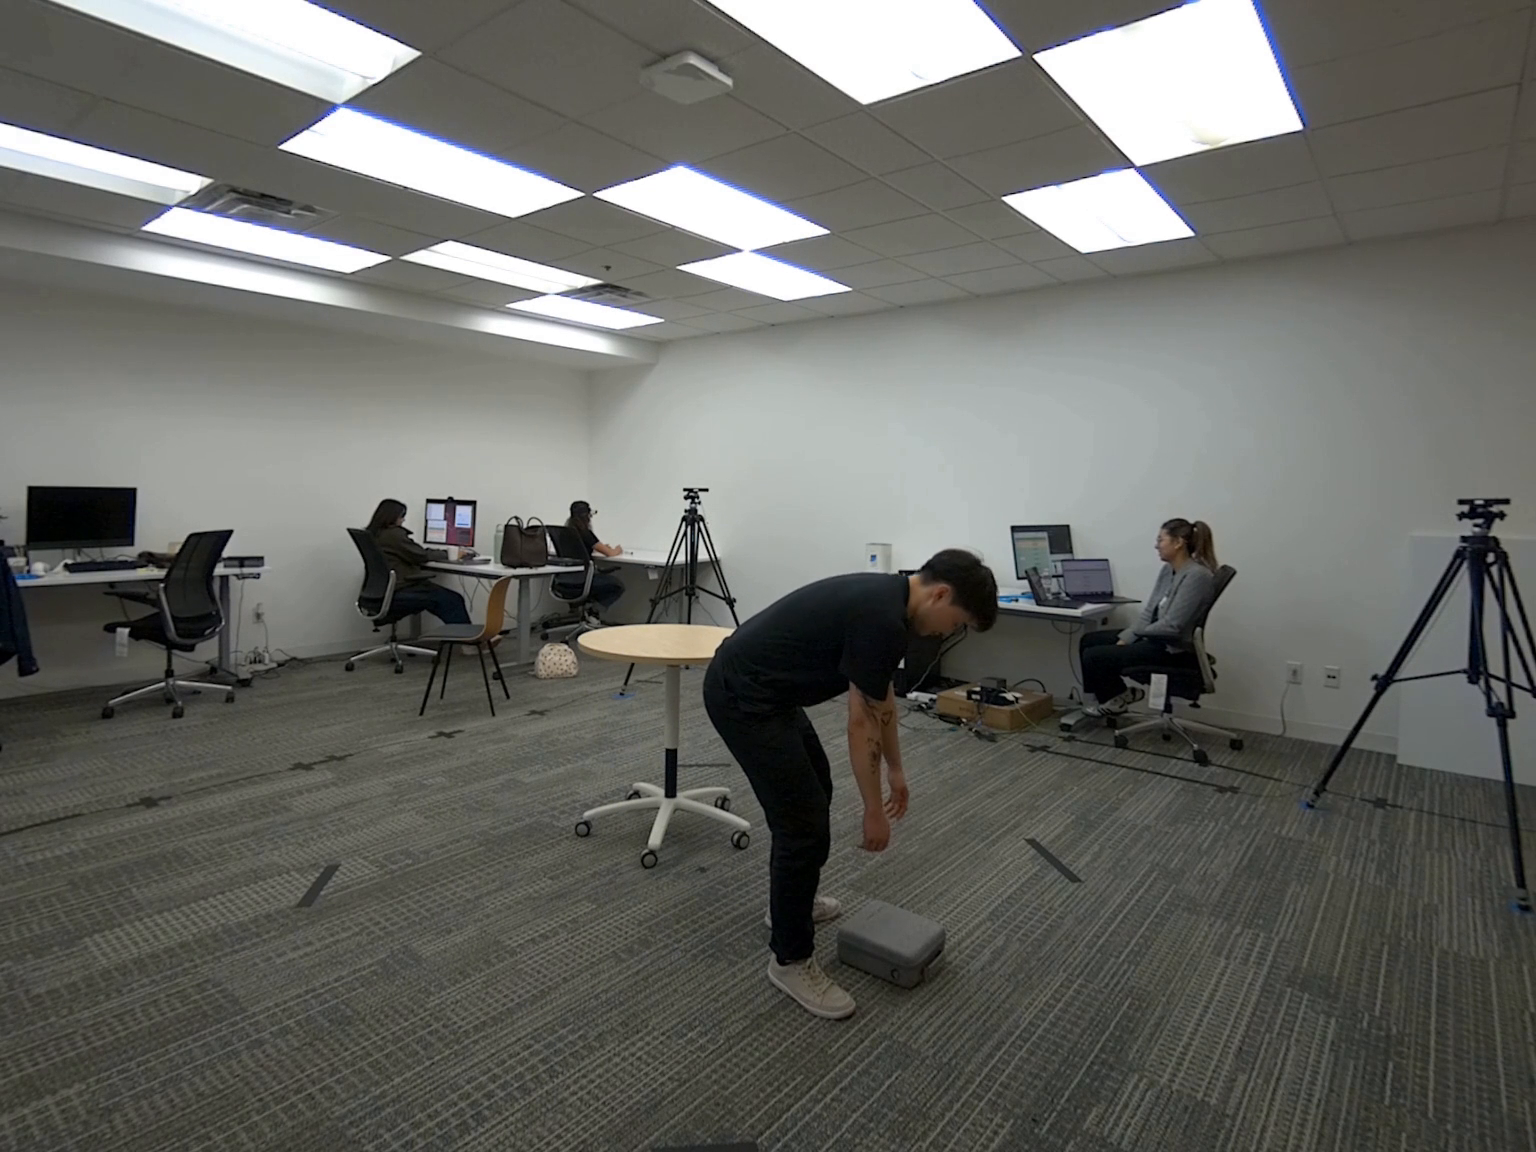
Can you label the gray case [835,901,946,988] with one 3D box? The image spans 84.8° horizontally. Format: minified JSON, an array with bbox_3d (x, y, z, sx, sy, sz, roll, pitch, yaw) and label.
[{"bbox_3d":[0.365,1.077,2.535,0.269,0.104,0.249,7,6,37],"label":"gray case"}]
